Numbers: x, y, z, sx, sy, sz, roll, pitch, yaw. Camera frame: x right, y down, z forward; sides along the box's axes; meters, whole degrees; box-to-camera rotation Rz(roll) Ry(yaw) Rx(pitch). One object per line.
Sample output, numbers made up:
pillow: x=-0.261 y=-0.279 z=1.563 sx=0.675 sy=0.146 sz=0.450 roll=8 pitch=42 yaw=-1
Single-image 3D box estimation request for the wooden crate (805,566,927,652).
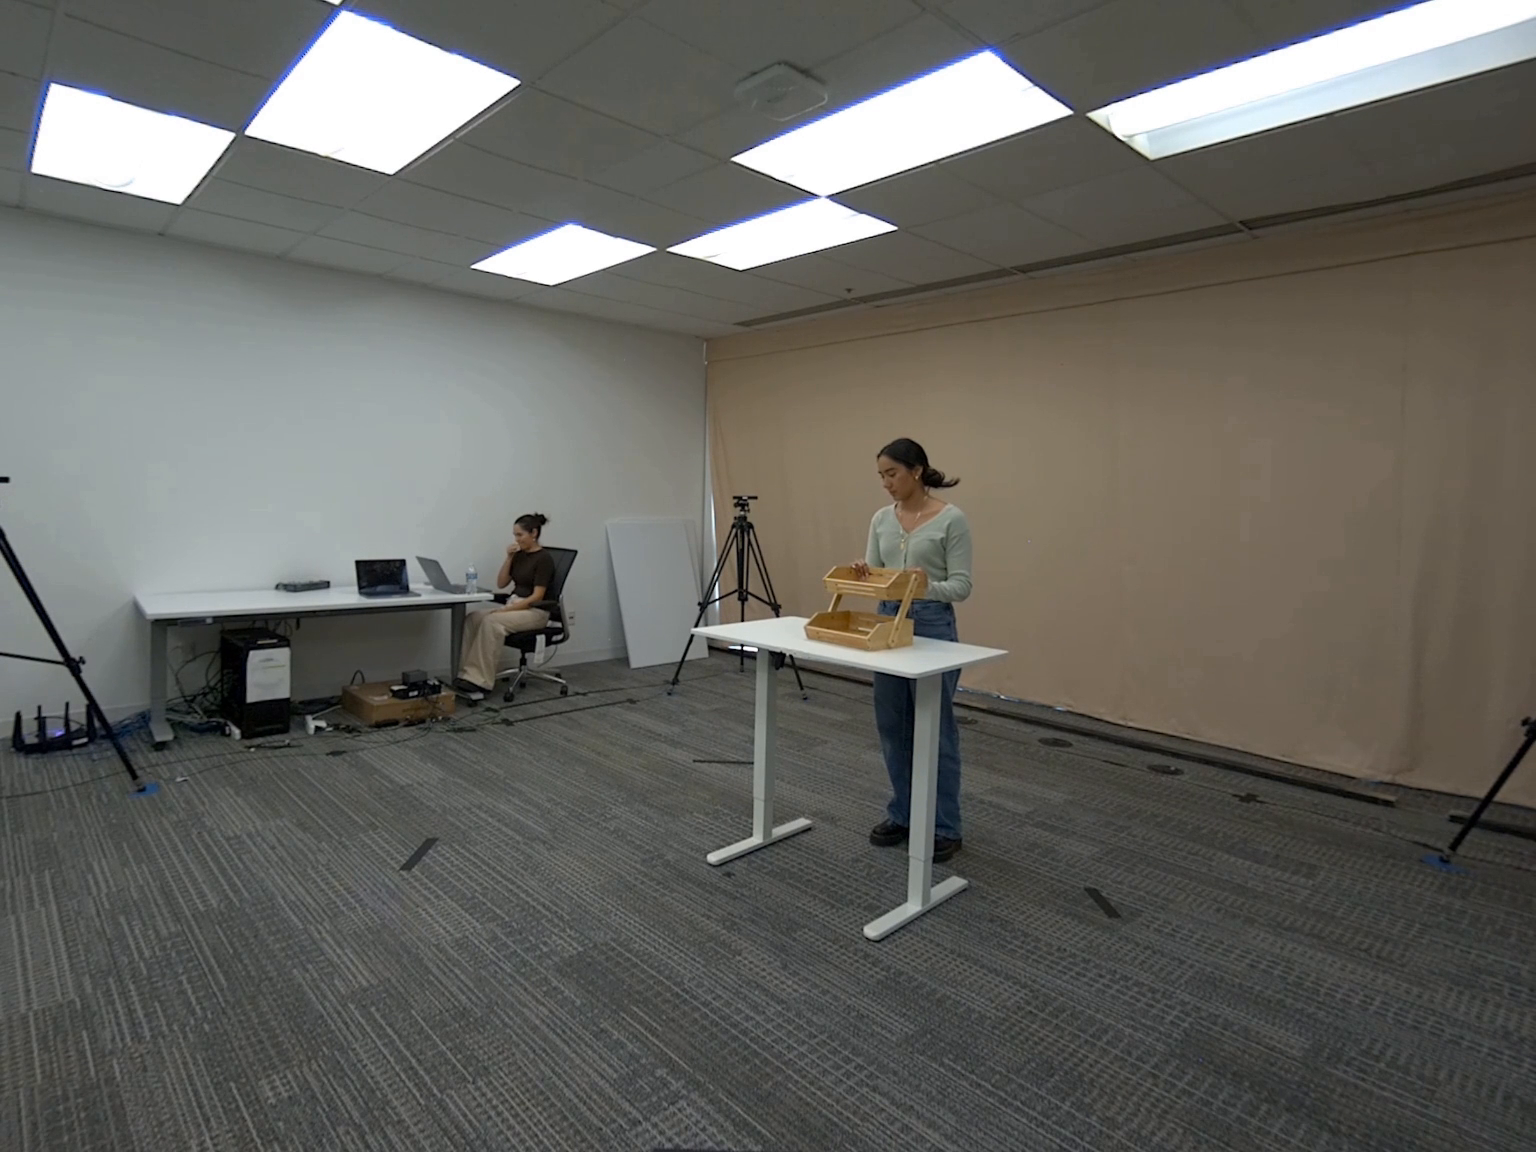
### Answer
wooden crate: x=0.340 y=0.107 z=3.041 sx=0.295 sy=0.272 sz=0.333 roll=-2 pitch=6 yaw=-42
